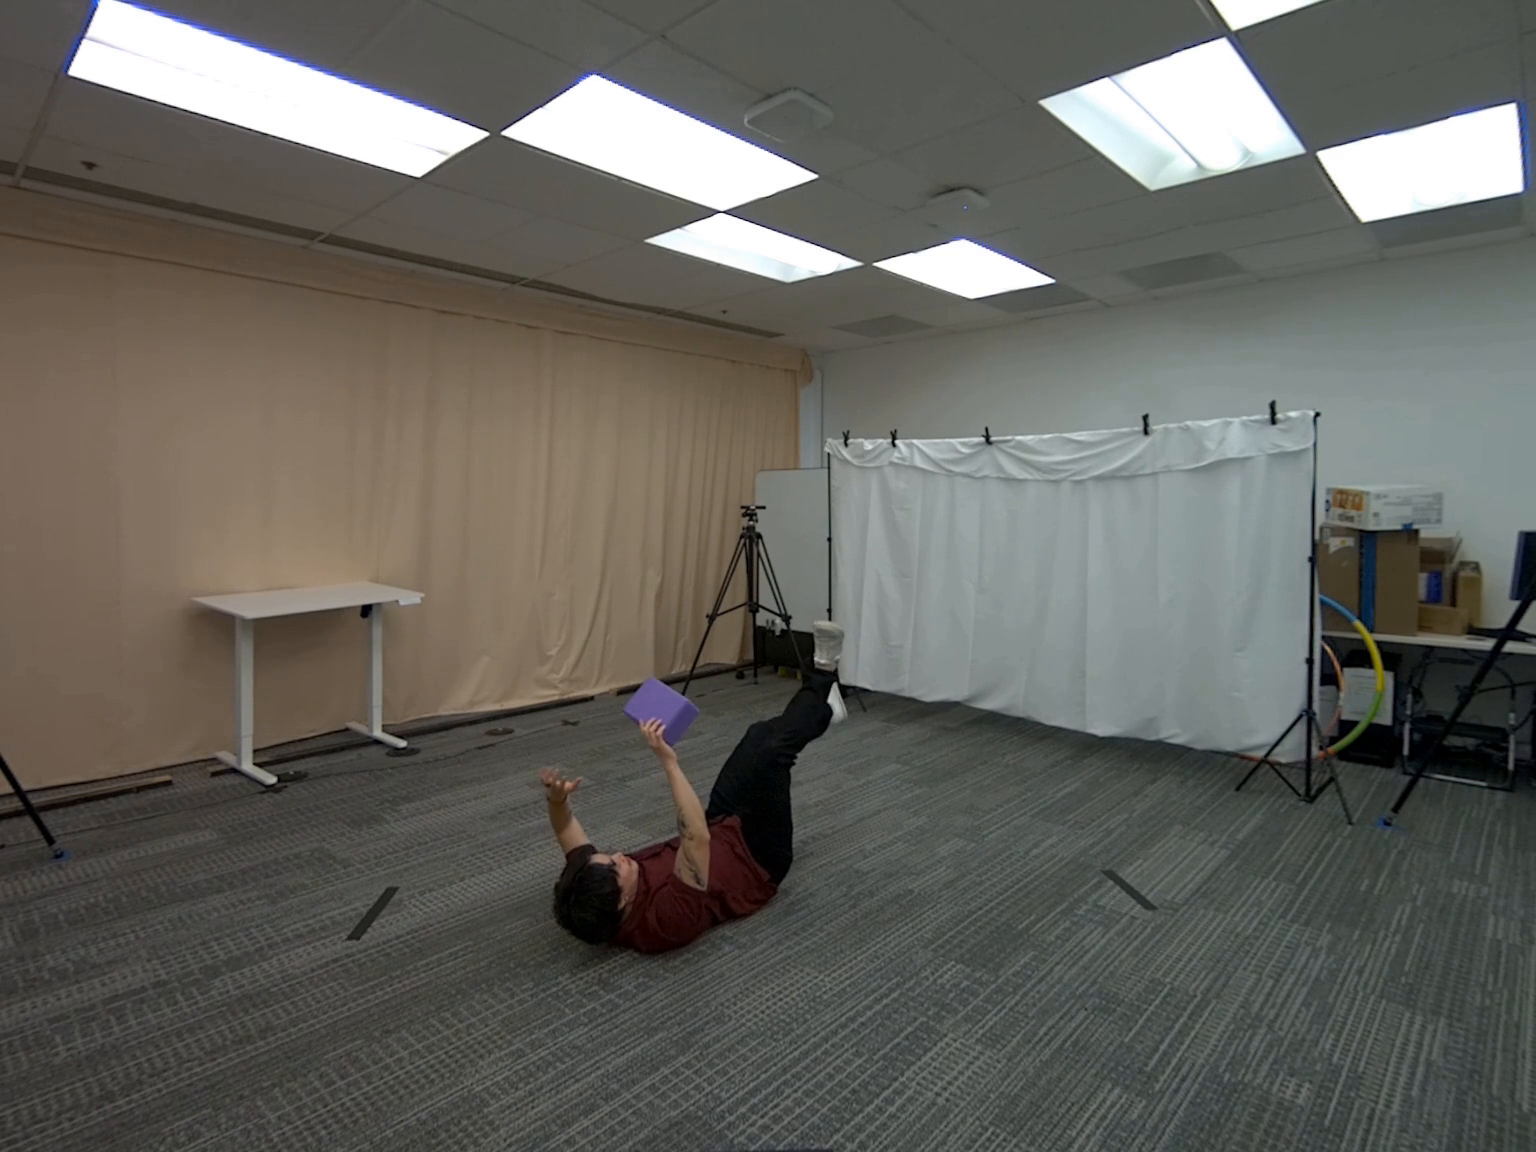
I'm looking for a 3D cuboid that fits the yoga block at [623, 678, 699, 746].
[{"bbox_3d":[-0.328,0.429,2.670,0.238,0.148,0.074,20,-25,46],"label":"yoga block"}]
